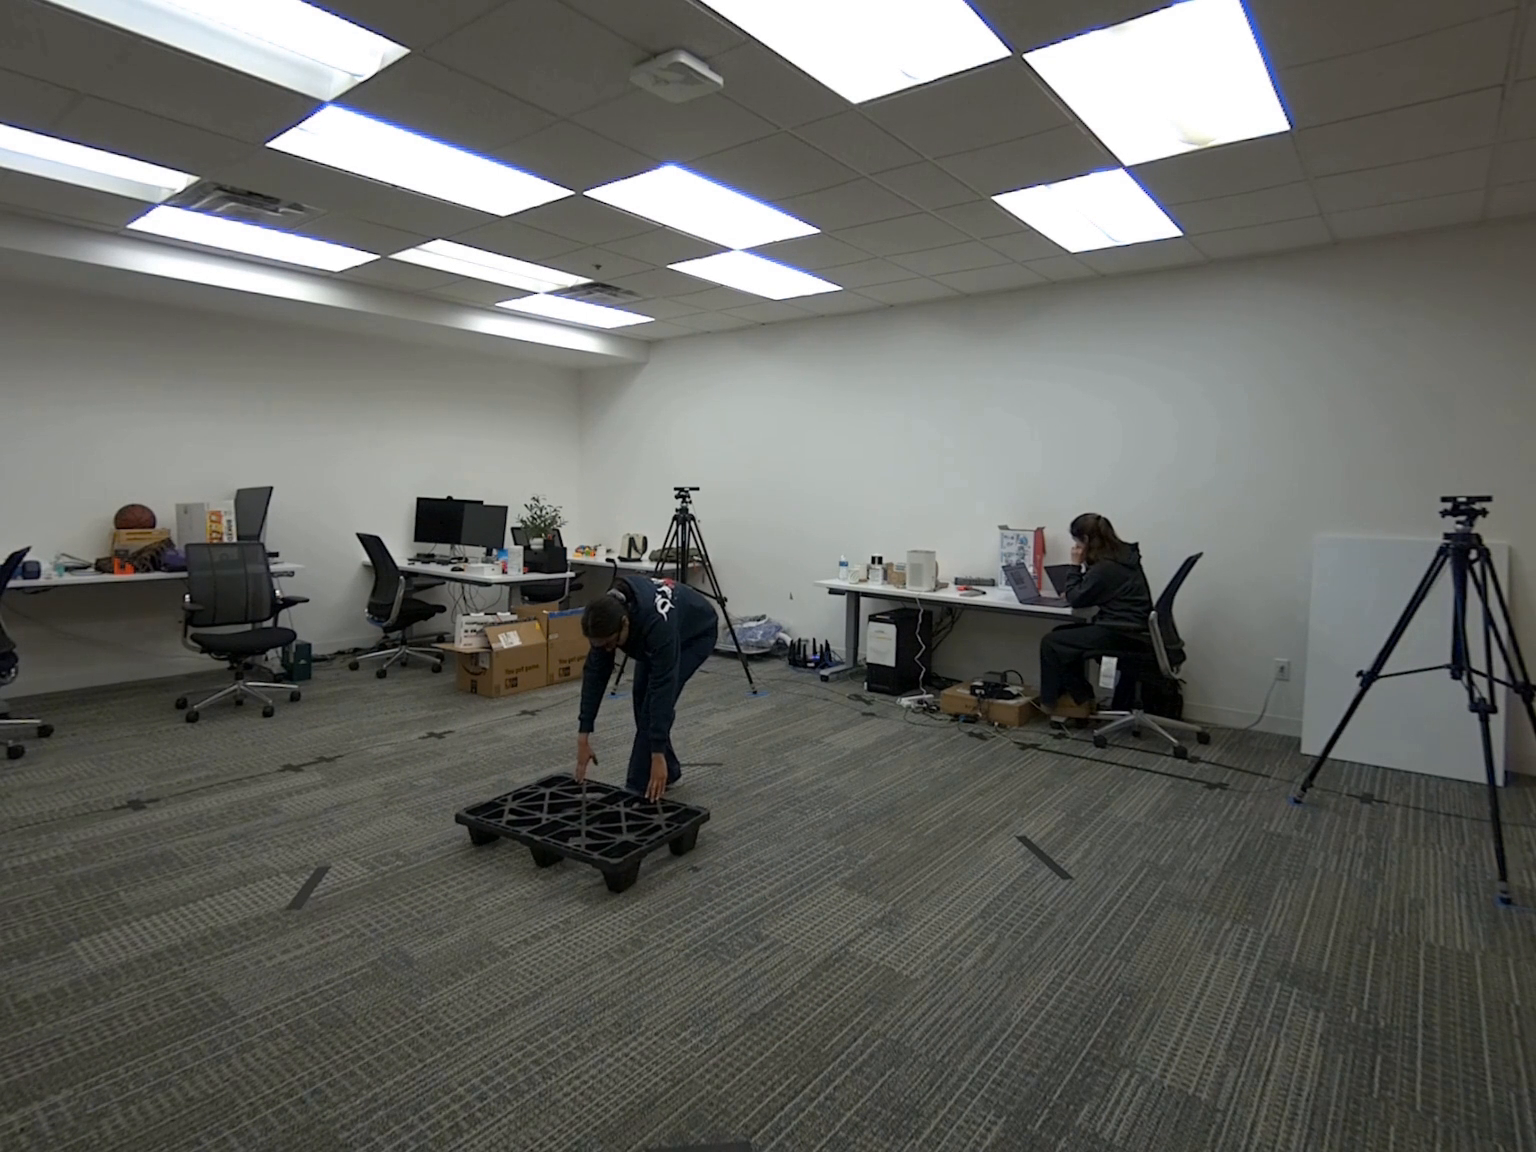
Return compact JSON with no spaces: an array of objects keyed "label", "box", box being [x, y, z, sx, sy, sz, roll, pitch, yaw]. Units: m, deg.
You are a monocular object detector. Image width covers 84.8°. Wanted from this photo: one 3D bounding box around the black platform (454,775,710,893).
[{"label":"black platform","box":[-0.725,0.972,3.300,0.830,0.143,0.589,5,6,31]}]
